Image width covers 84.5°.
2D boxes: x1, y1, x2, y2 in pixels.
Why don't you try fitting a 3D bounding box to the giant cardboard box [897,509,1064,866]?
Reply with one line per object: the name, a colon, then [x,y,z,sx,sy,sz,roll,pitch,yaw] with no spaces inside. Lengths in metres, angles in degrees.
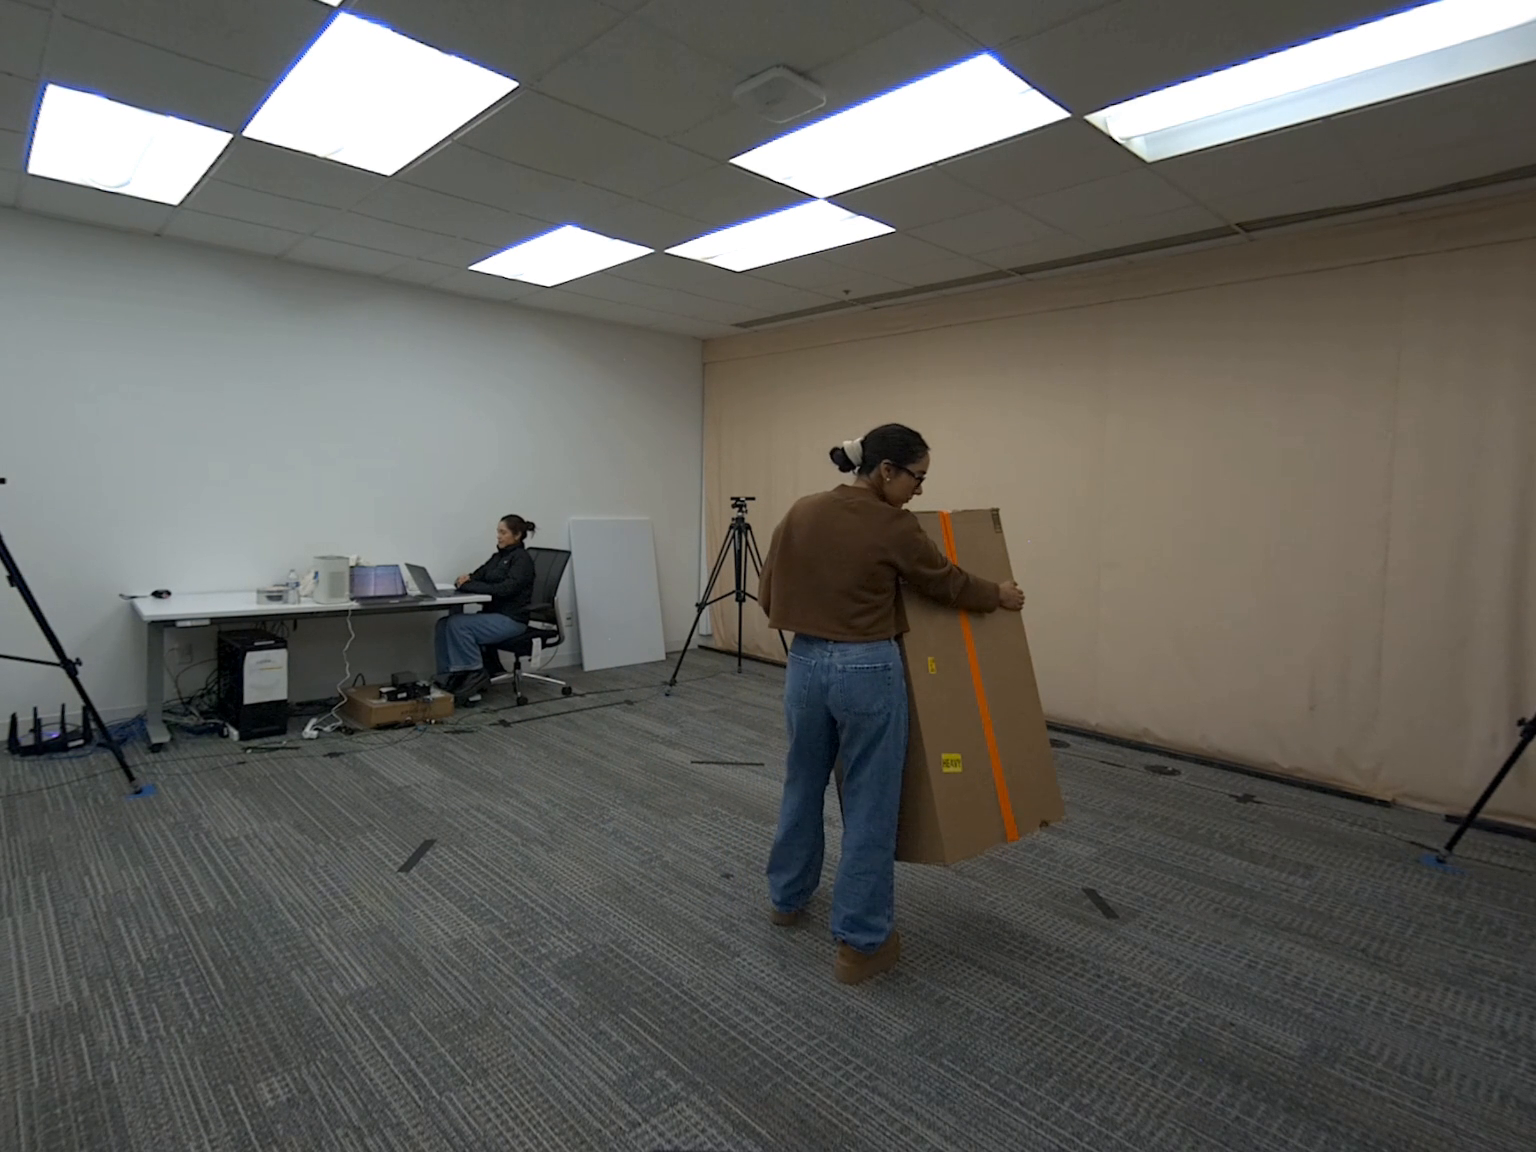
giant cardboard box: [0.511,0.333,2.767,0.565,1.034,0.432,-4,-11,-36]
